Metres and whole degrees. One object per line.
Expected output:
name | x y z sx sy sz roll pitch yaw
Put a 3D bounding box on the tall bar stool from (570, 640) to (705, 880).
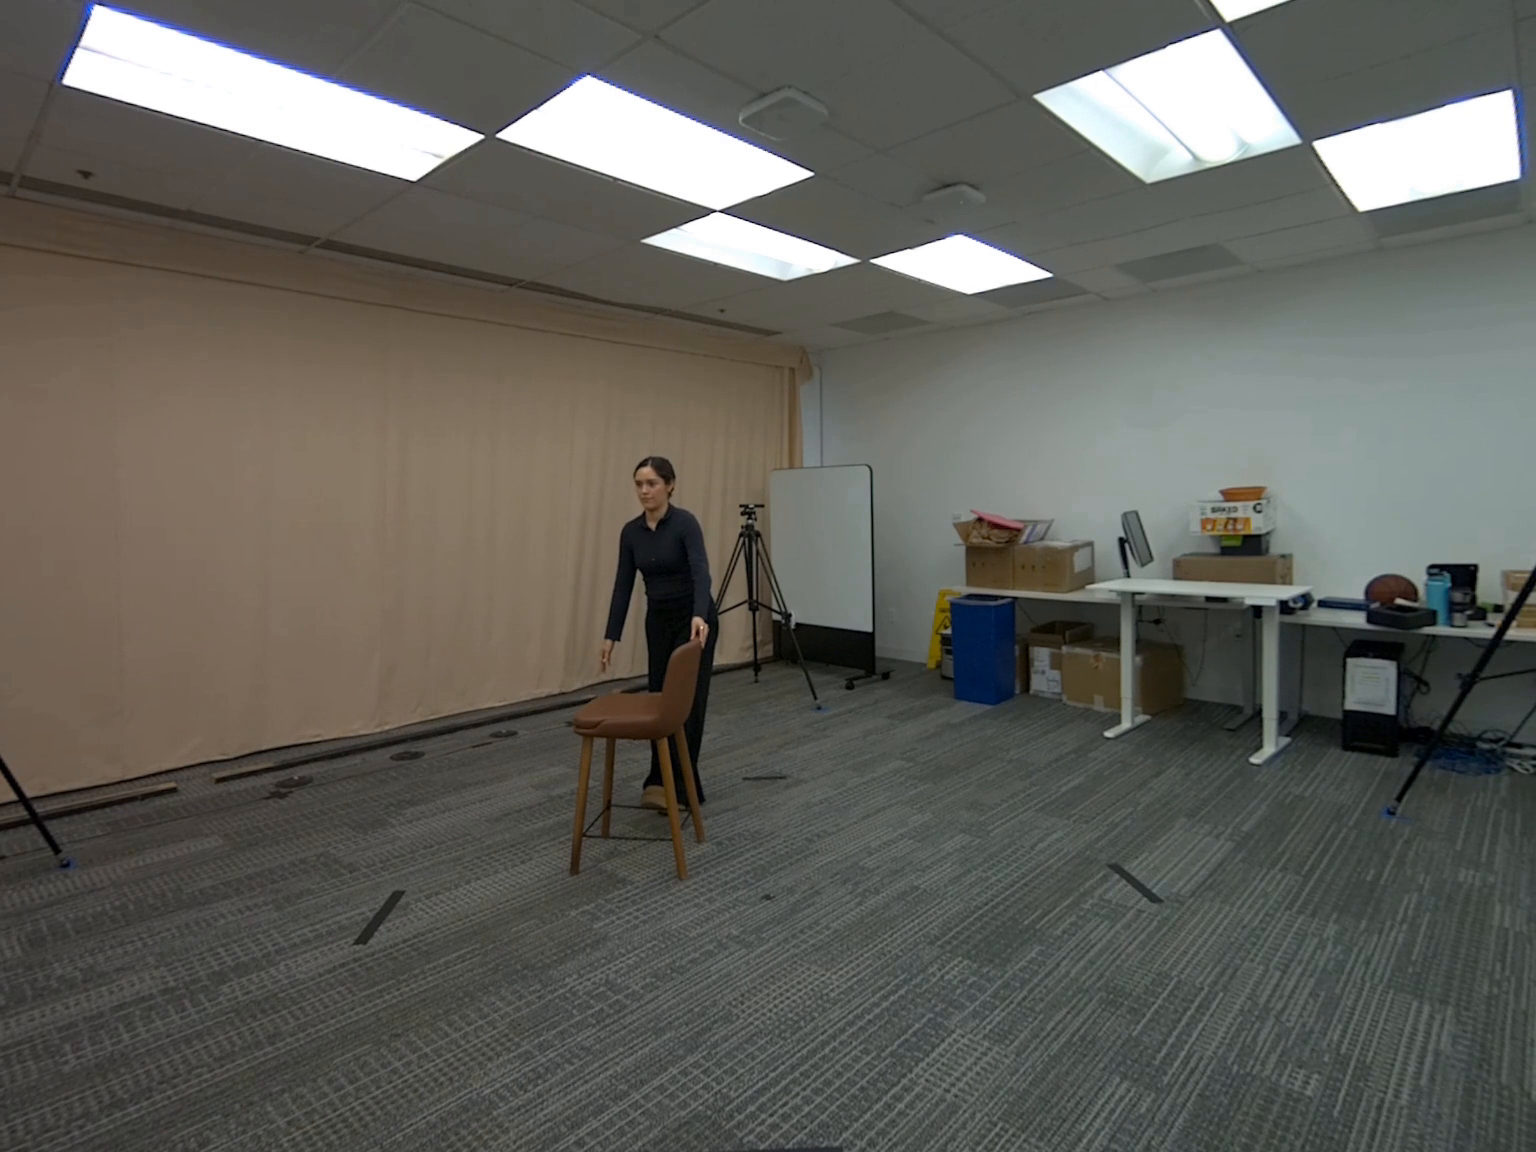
tall bar stool | -0.510 0.685 3.338 0.473 0.888 0.452 1 3 9
